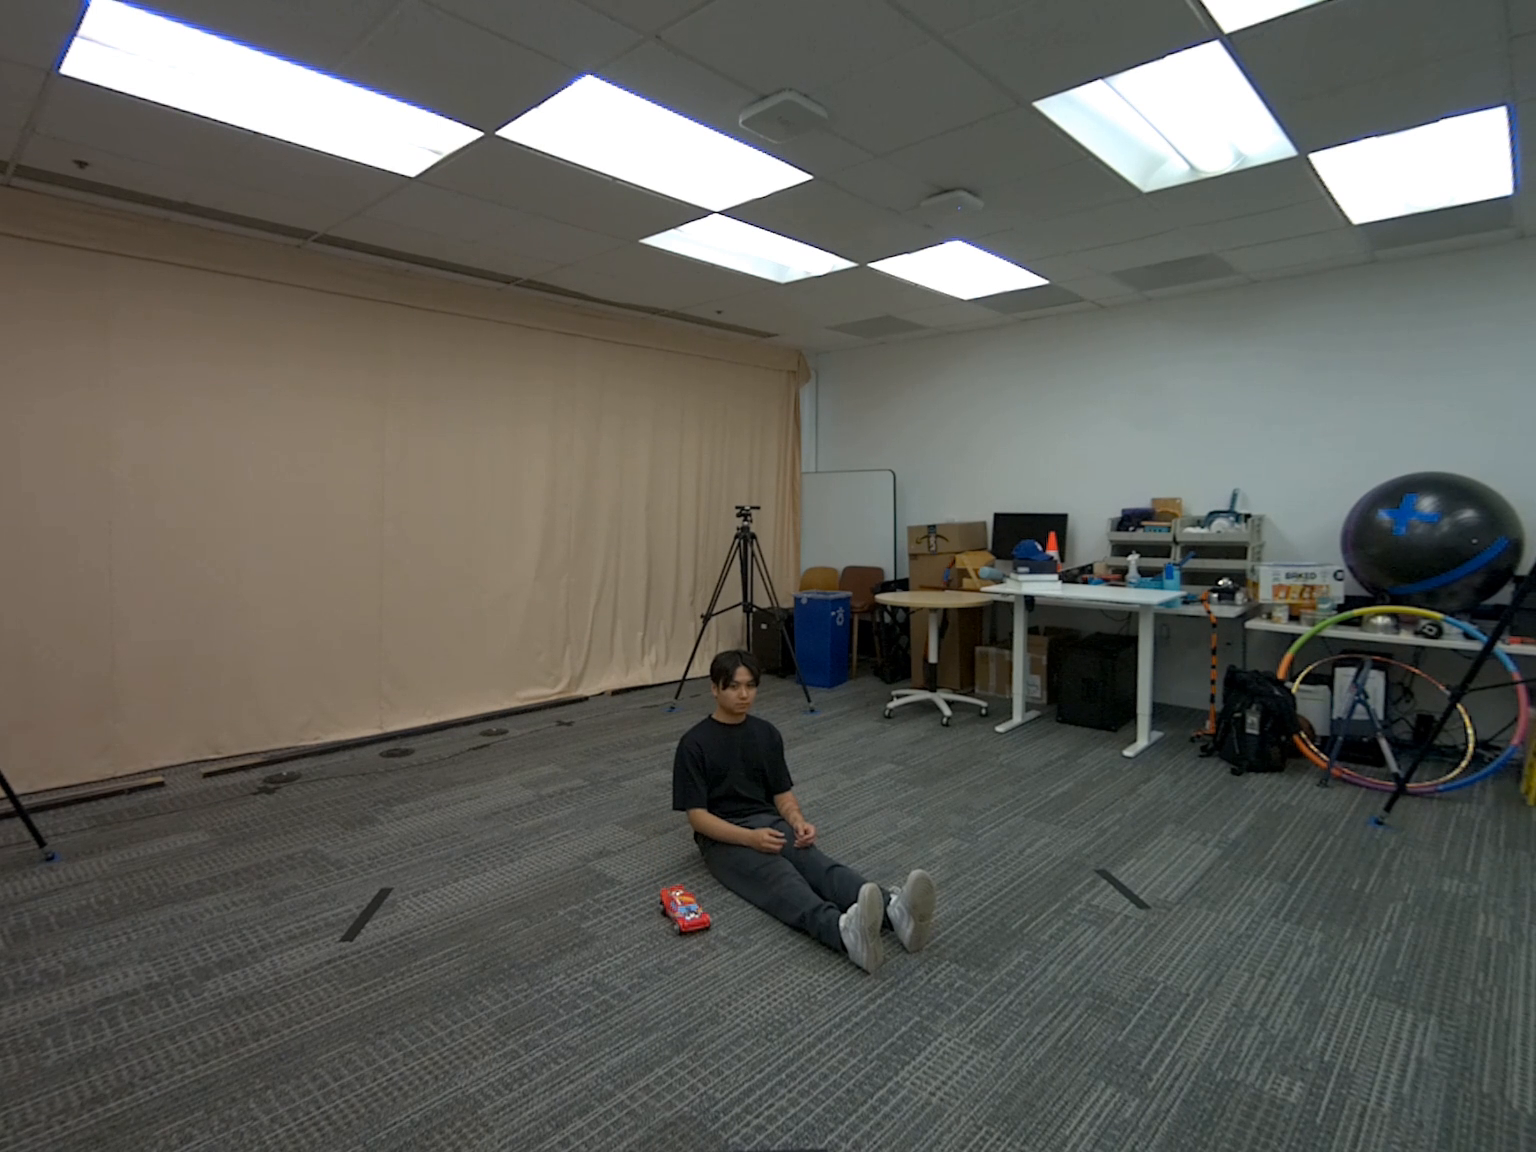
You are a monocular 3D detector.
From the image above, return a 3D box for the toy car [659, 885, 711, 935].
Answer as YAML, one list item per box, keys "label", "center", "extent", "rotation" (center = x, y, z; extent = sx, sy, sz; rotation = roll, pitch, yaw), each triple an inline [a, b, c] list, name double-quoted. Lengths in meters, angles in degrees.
- label: "toy car"
  center: [-0.287, 1.120, 2.843]
  extent: [0.127, 0.082, 0.262]
  rotation: [-3, 16, -24]
